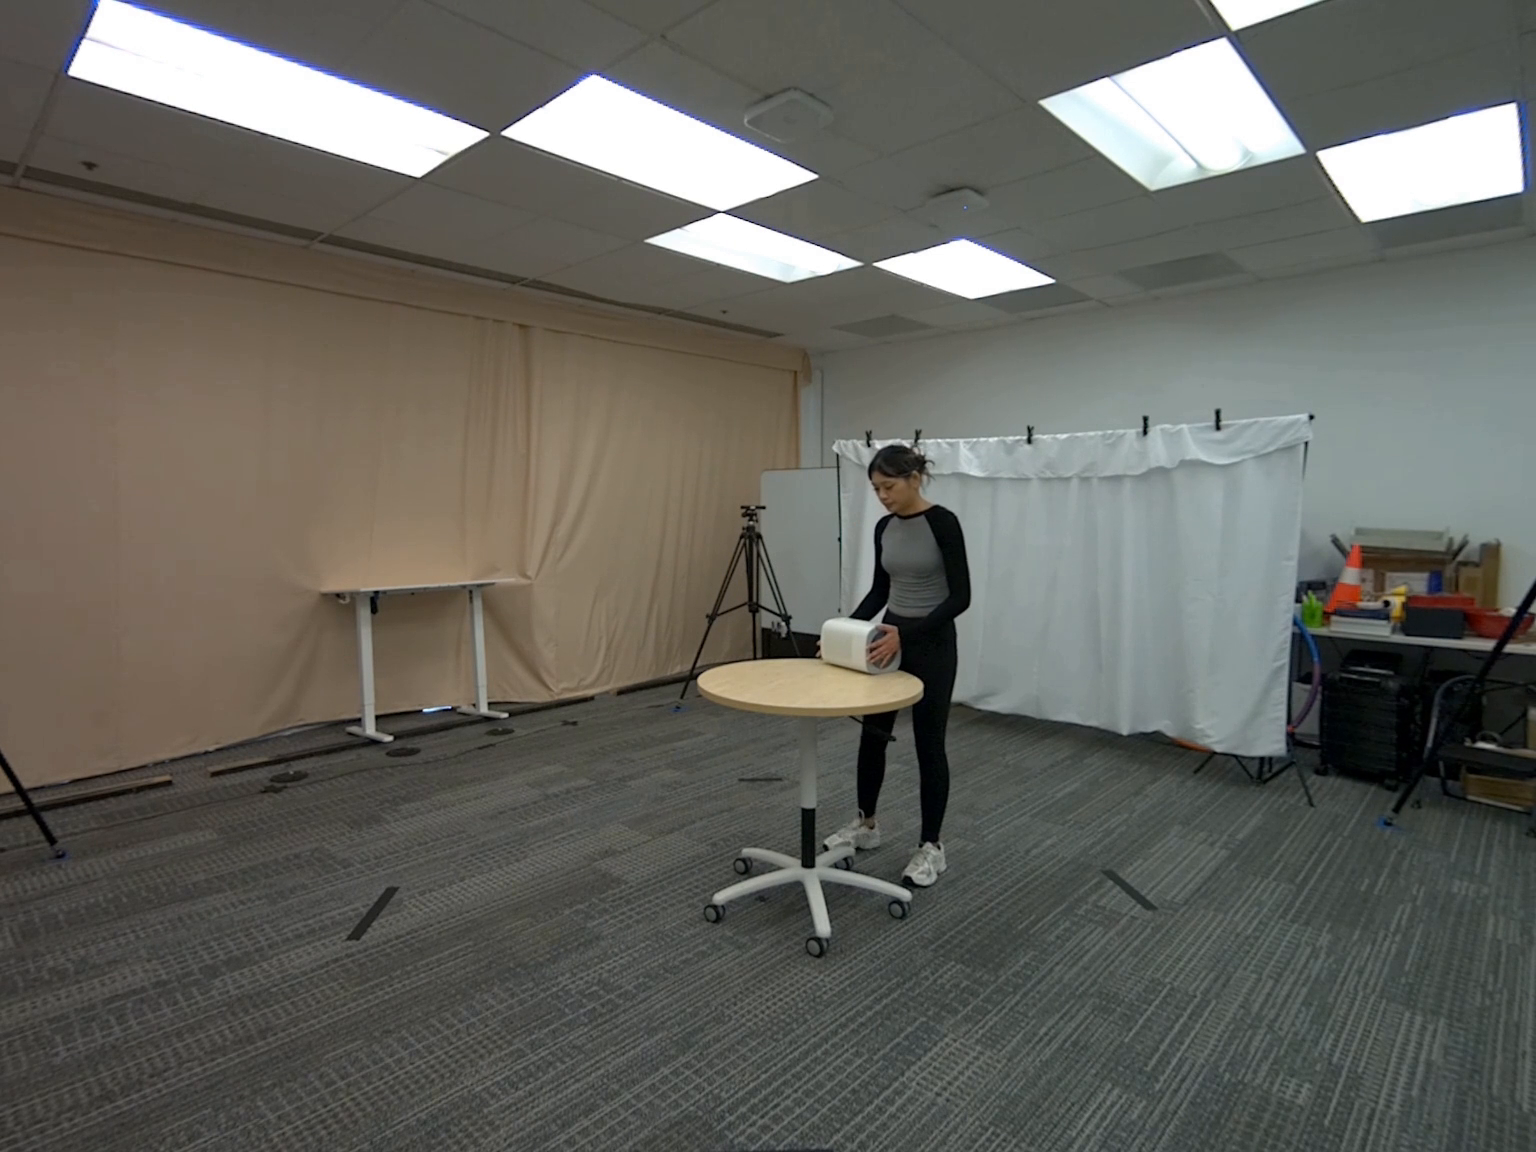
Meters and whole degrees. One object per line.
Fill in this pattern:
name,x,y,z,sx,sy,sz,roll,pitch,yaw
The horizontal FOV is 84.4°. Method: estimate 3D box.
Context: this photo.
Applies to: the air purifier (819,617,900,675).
air purifier,0.335,0.252,3.100,0.166,0.171,0.274,-3,5,-35
